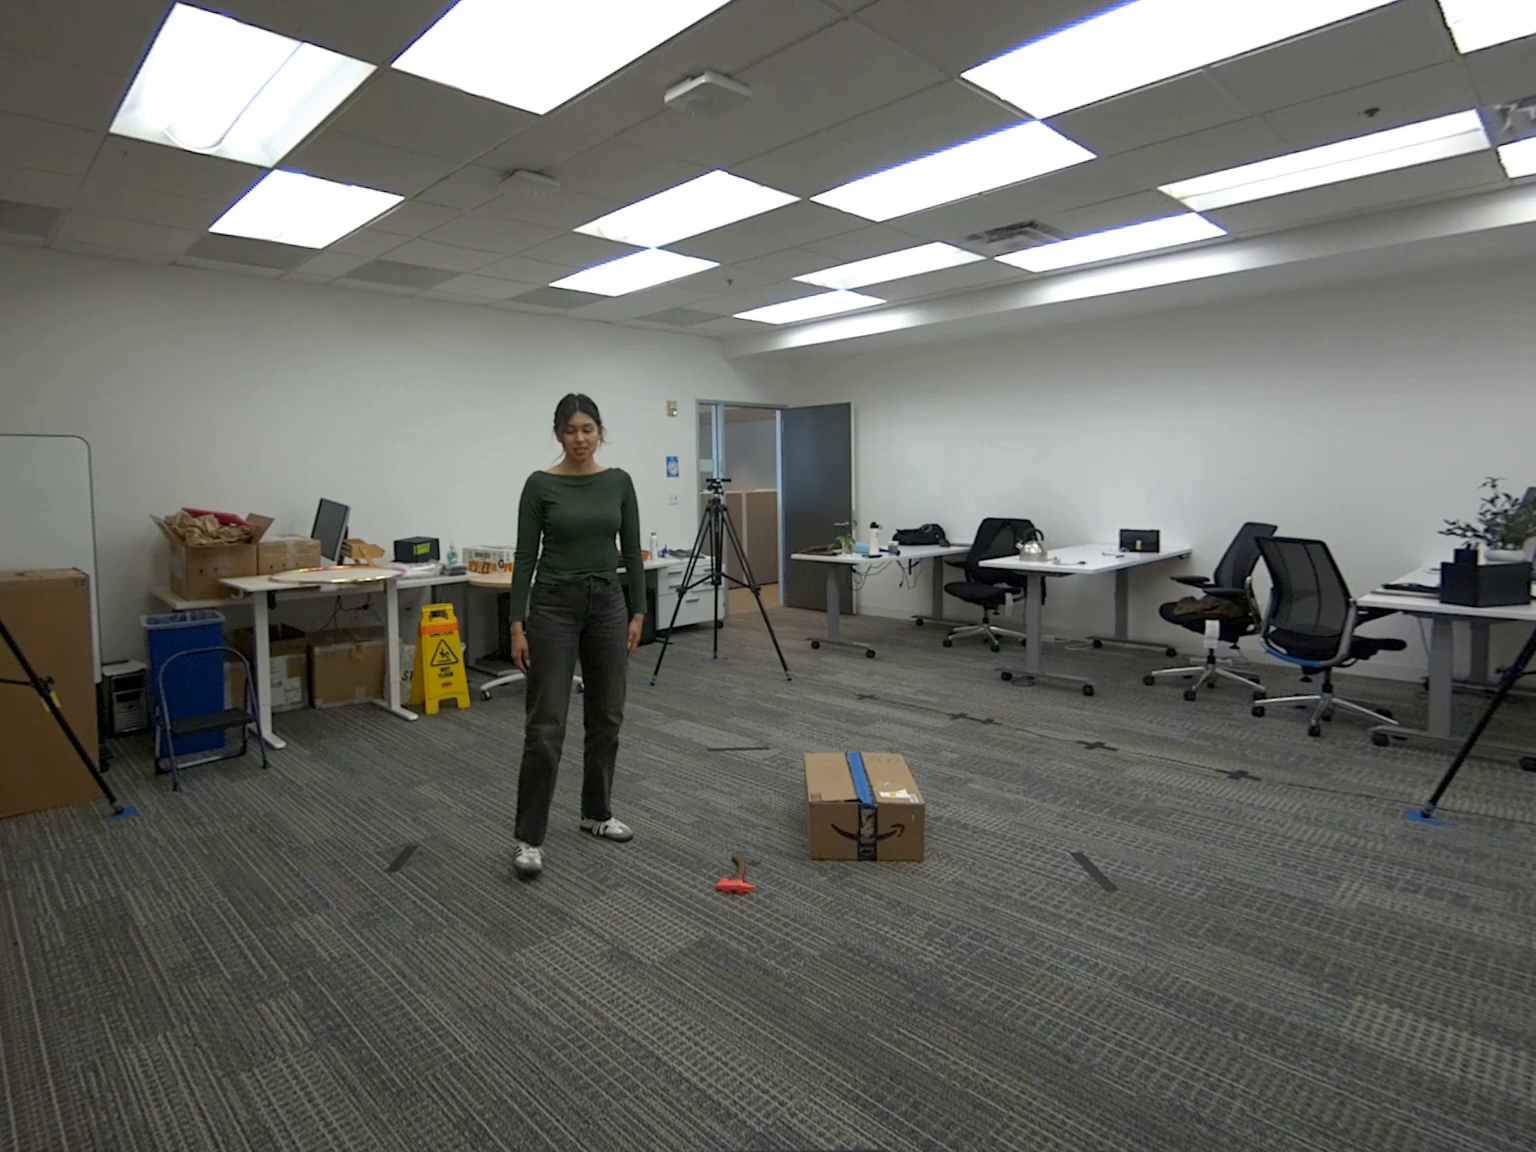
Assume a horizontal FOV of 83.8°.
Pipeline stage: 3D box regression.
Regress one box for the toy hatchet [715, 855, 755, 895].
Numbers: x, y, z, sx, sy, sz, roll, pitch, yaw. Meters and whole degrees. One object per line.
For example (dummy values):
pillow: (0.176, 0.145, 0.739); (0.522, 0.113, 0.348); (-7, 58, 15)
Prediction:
toy hatchet: (-0.133, 1.042, 3.000); (0.130, 0.029, 0.273); (-6, 5, -11)
